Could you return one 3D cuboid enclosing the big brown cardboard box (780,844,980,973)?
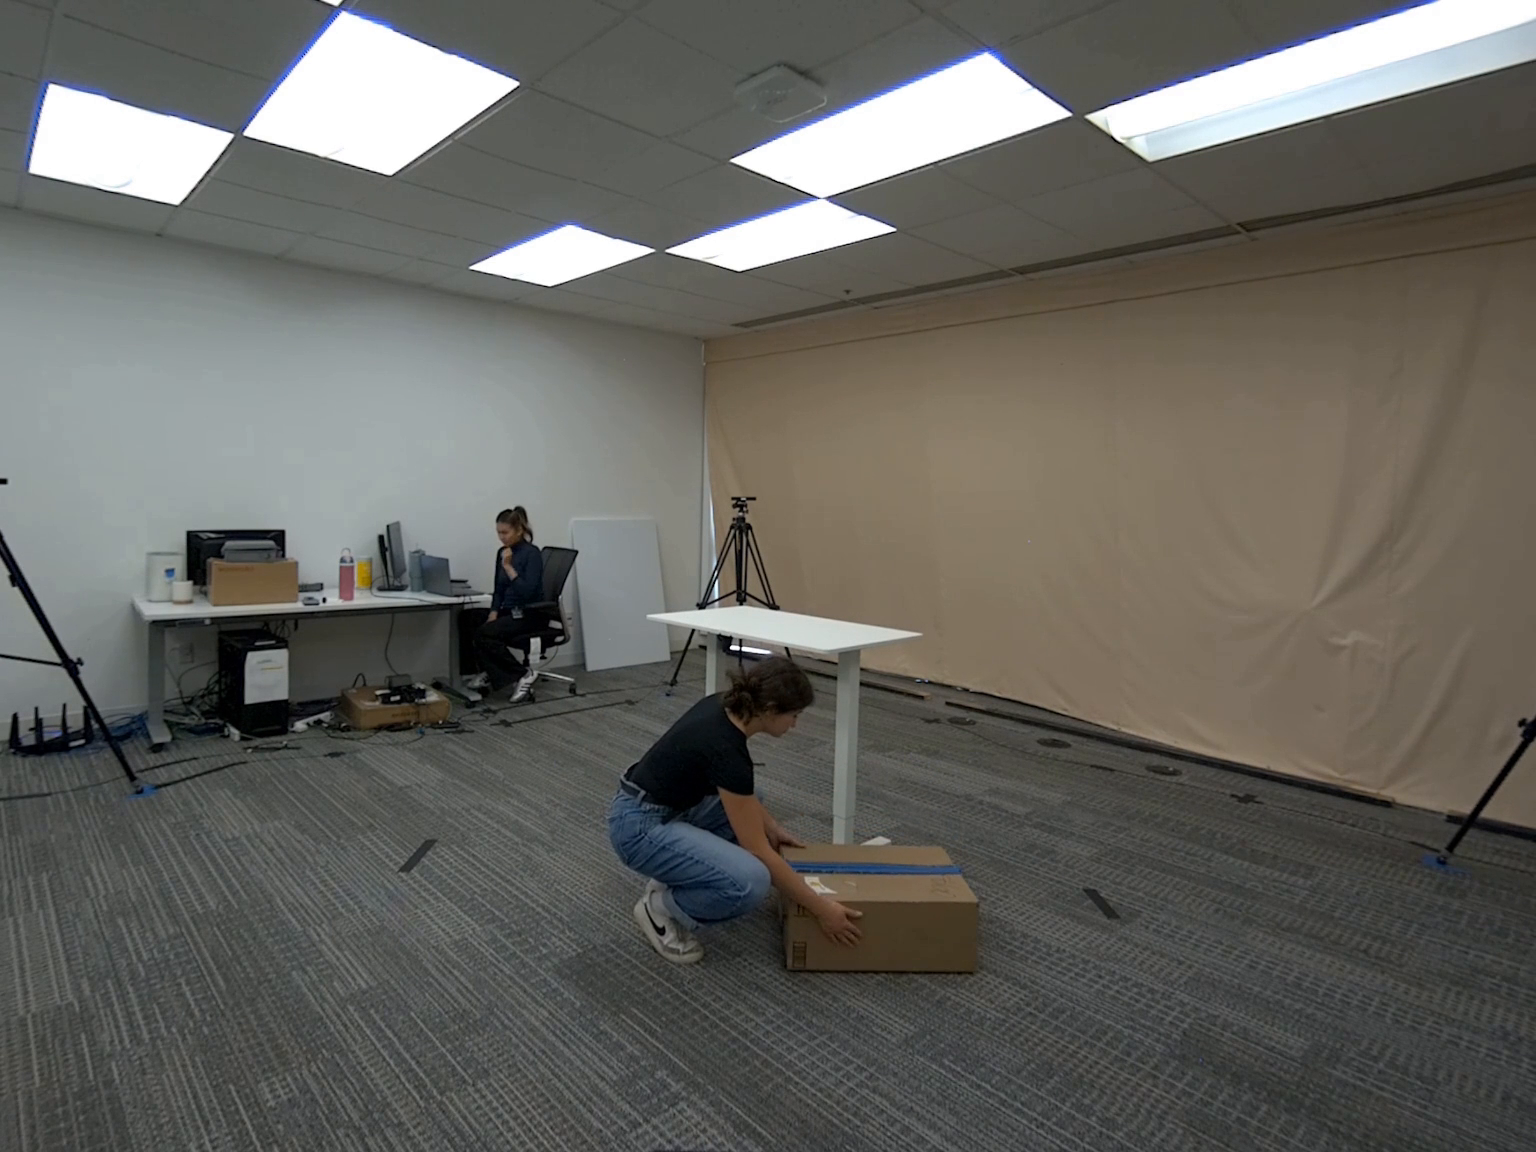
[{"bbox_3d":[0.320,1.042,2.678,0.587,0.233,0.419,3,4,-3],"label":"big brown cardboard box"}]
